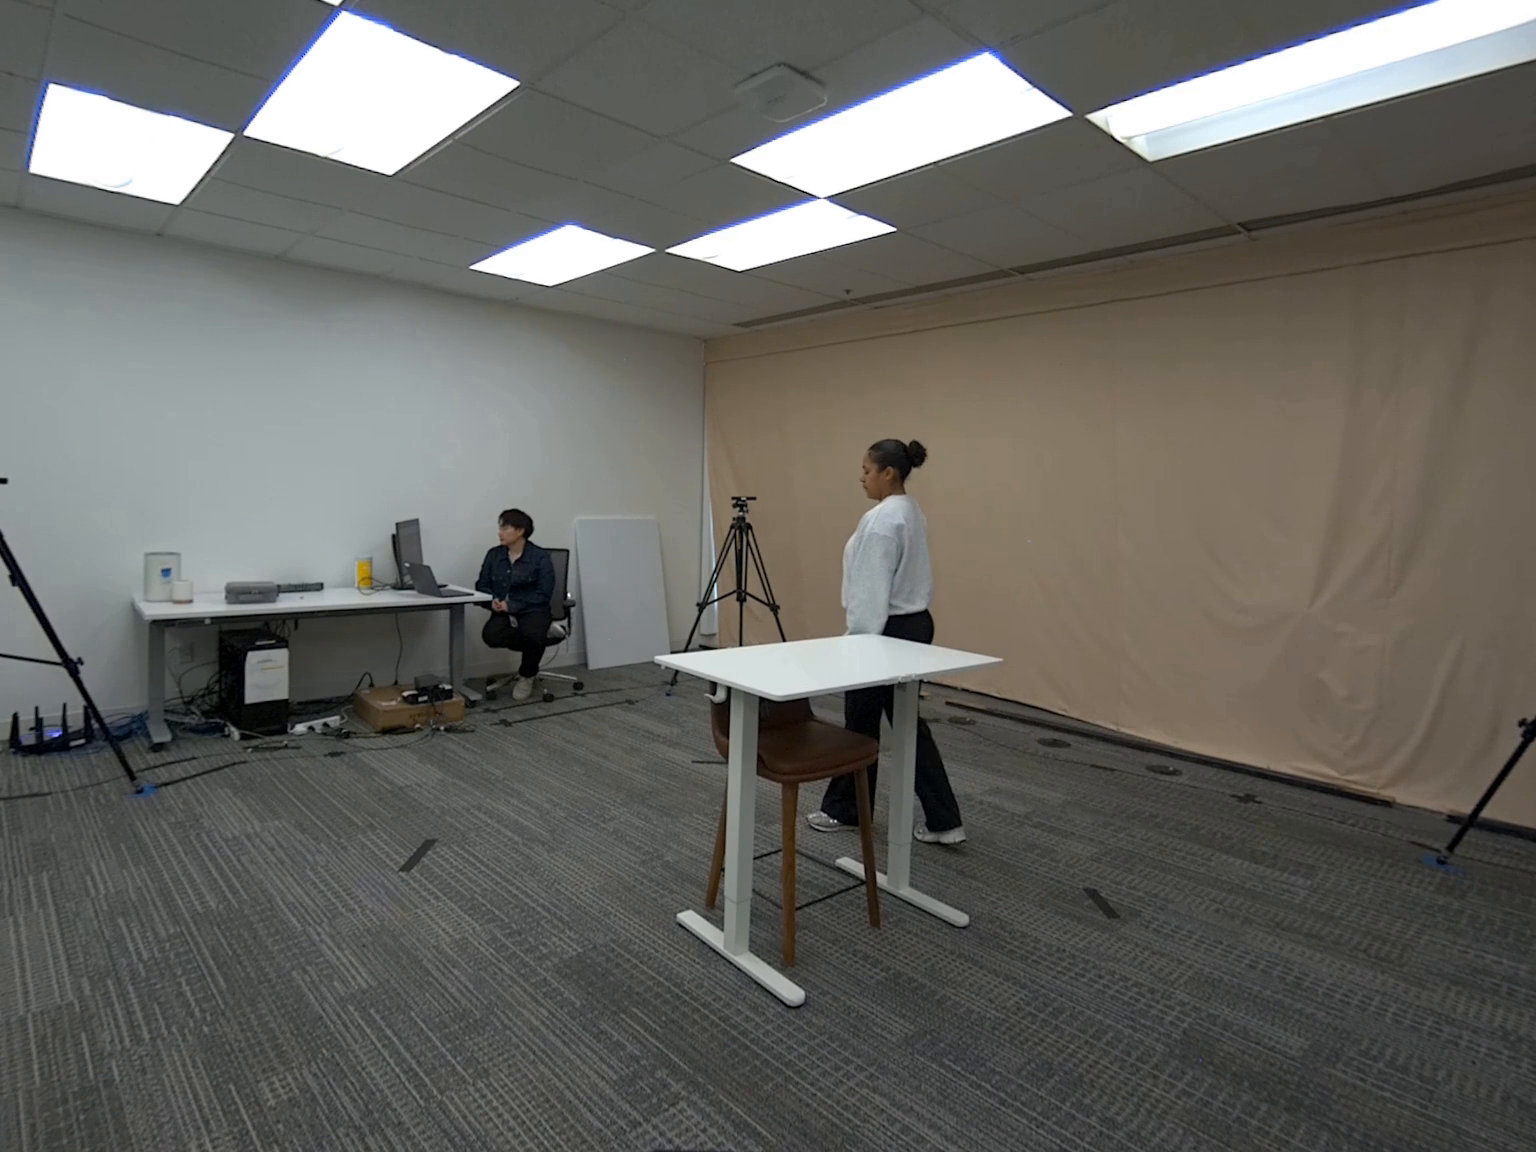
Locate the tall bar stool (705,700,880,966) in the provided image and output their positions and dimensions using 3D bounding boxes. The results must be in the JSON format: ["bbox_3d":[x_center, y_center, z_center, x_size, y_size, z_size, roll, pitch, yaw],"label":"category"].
[{"bbox_3d":[0.072,0.707,2.786,0.446,0.888,0.479,-2,3,-39],"label":"tall bar stool"}]
